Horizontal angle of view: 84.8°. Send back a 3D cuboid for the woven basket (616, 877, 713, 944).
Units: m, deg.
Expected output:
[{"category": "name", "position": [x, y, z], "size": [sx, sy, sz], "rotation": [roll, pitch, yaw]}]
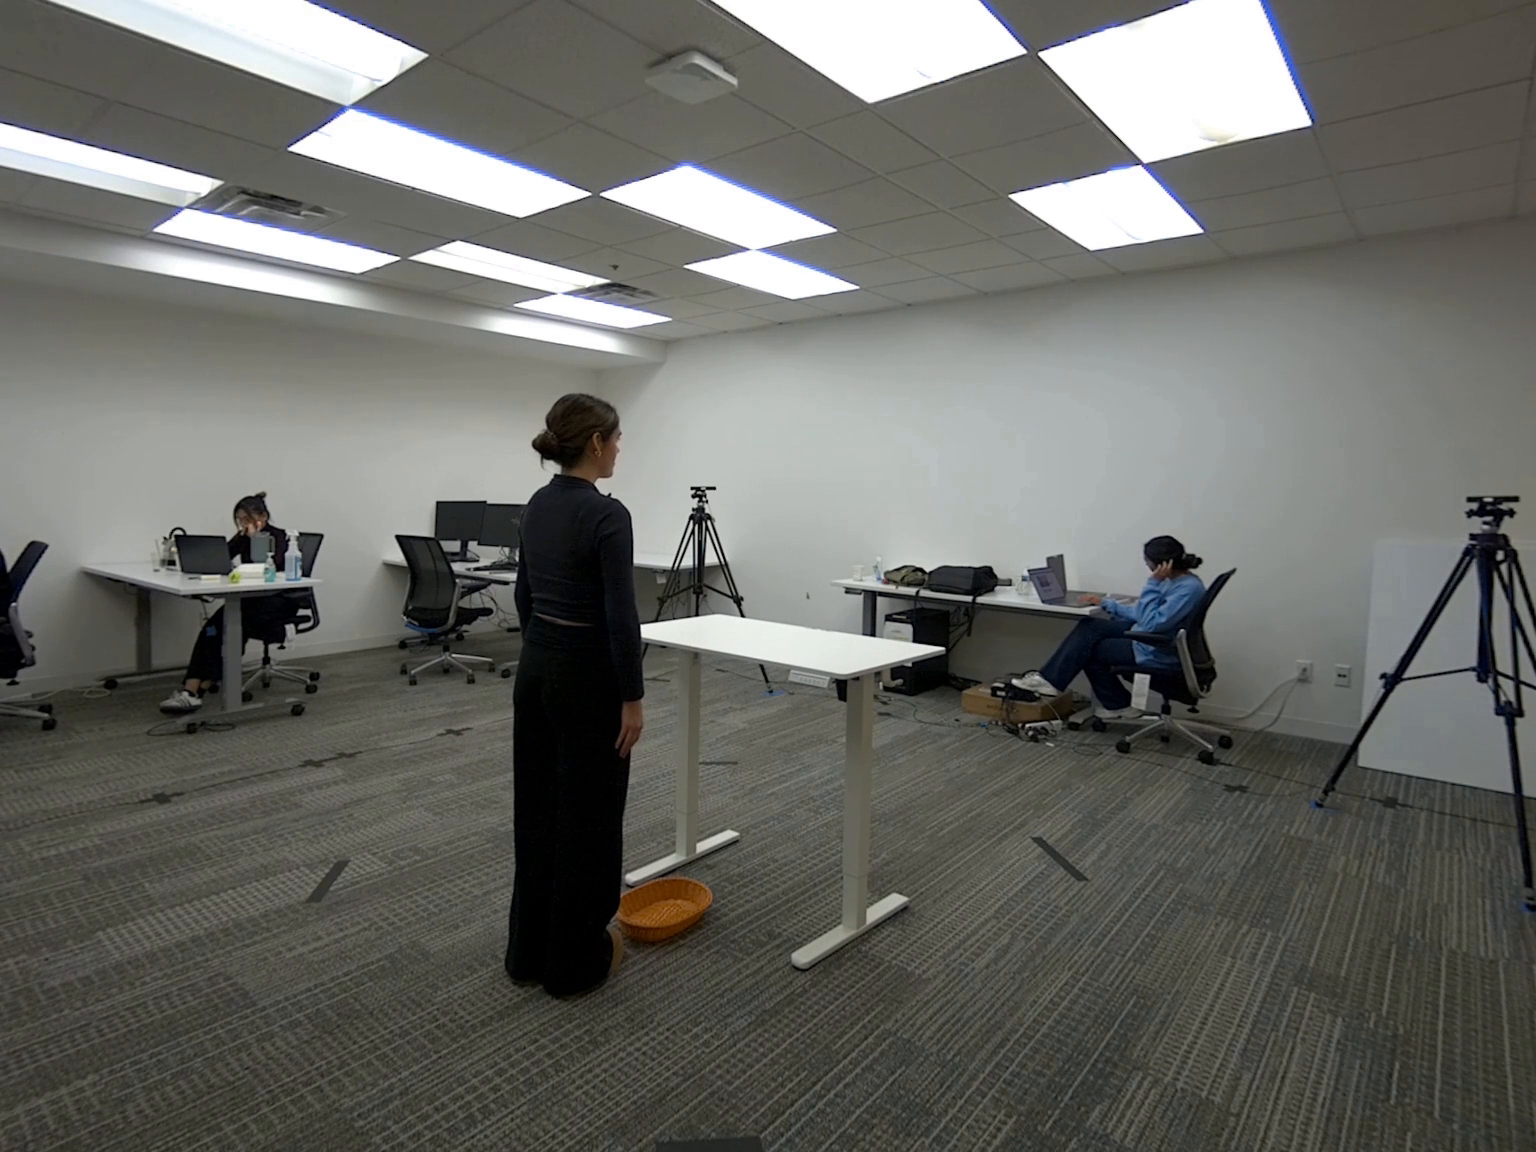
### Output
[{"category": "woven basket", "position": [-0.343, 1.063, 2.714], "size": [0.261, 0.073, 0.340], "rotation": [7, 8, 44]}]
